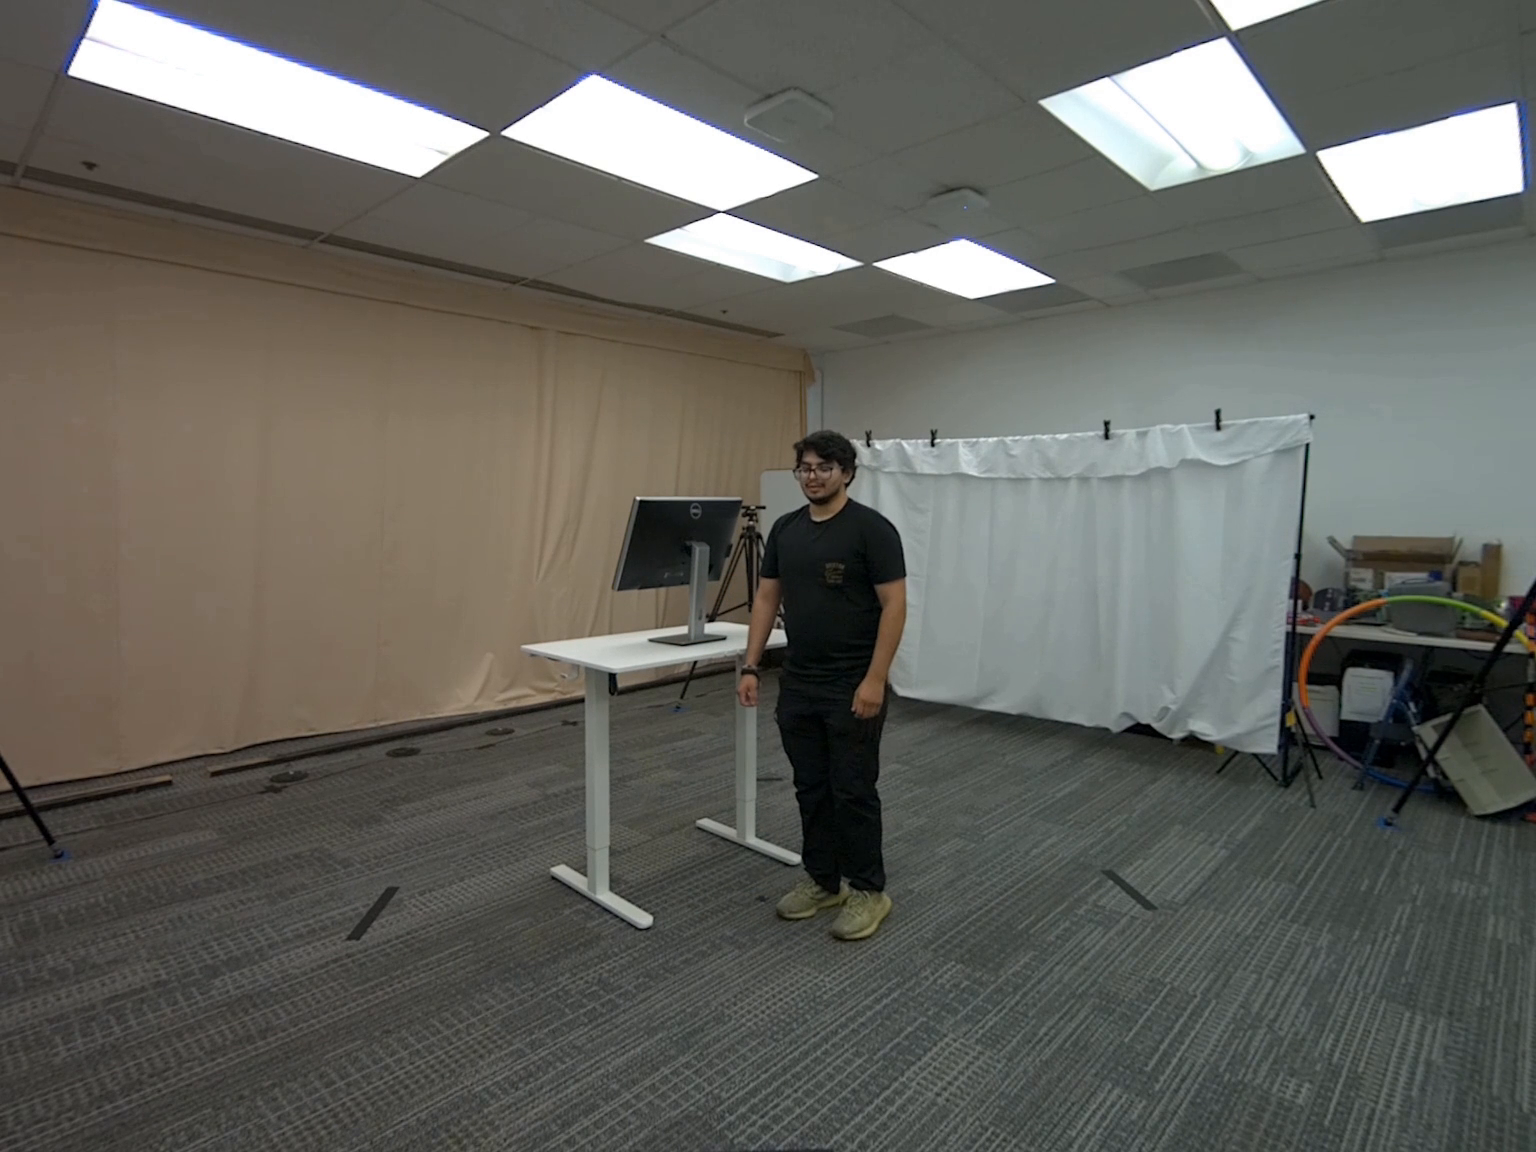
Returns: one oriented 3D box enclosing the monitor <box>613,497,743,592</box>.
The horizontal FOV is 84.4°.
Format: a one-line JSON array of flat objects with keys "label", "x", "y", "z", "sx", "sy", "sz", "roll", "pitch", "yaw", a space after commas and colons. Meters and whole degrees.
[{"label": "monitor", "x": -0.285, "y": -0.021, "z": 3.168, "sx": 0.217, "sy": 0.551, "sz": 0.548, "roll": 16, "pitch": 13, "yaw": 38}]
